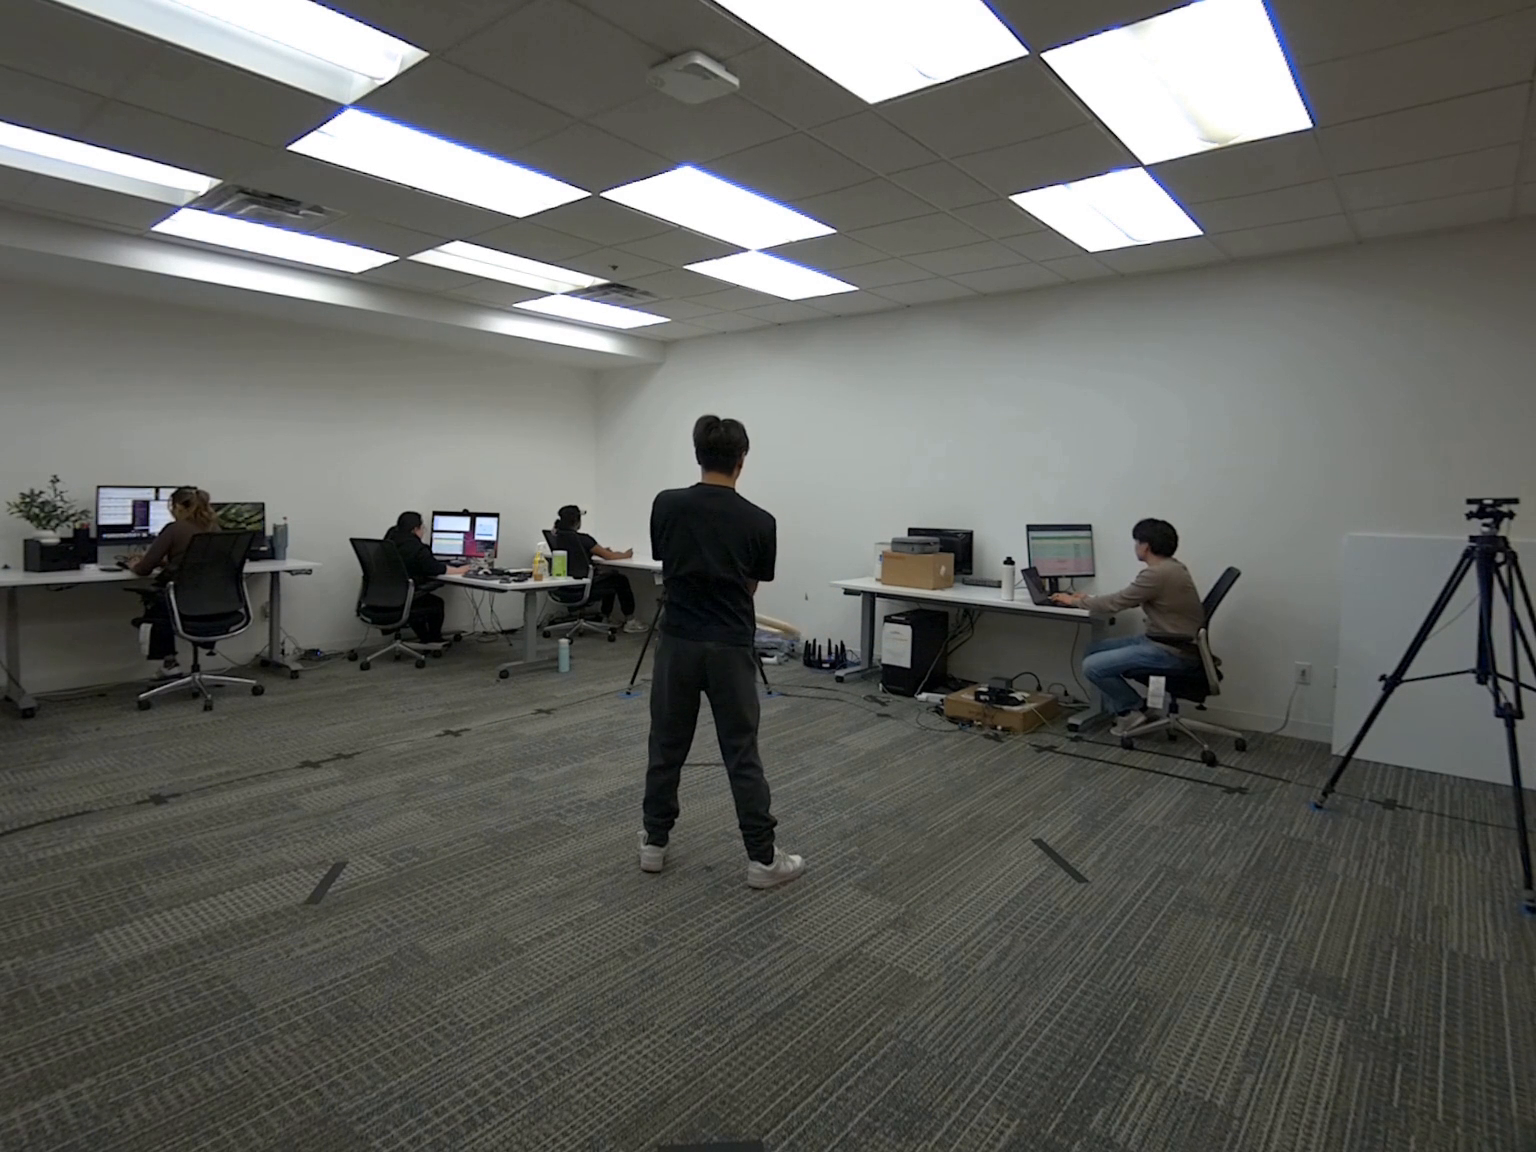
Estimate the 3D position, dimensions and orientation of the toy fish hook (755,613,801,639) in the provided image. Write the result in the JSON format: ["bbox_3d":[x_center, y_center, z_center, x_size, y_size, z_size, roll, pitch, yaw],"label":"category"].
[{"bbox_3d":[-0.117,0.176,3.556,0.493,0.049,0.228,21,-22,-22],"label":"toy fish hook"}]
